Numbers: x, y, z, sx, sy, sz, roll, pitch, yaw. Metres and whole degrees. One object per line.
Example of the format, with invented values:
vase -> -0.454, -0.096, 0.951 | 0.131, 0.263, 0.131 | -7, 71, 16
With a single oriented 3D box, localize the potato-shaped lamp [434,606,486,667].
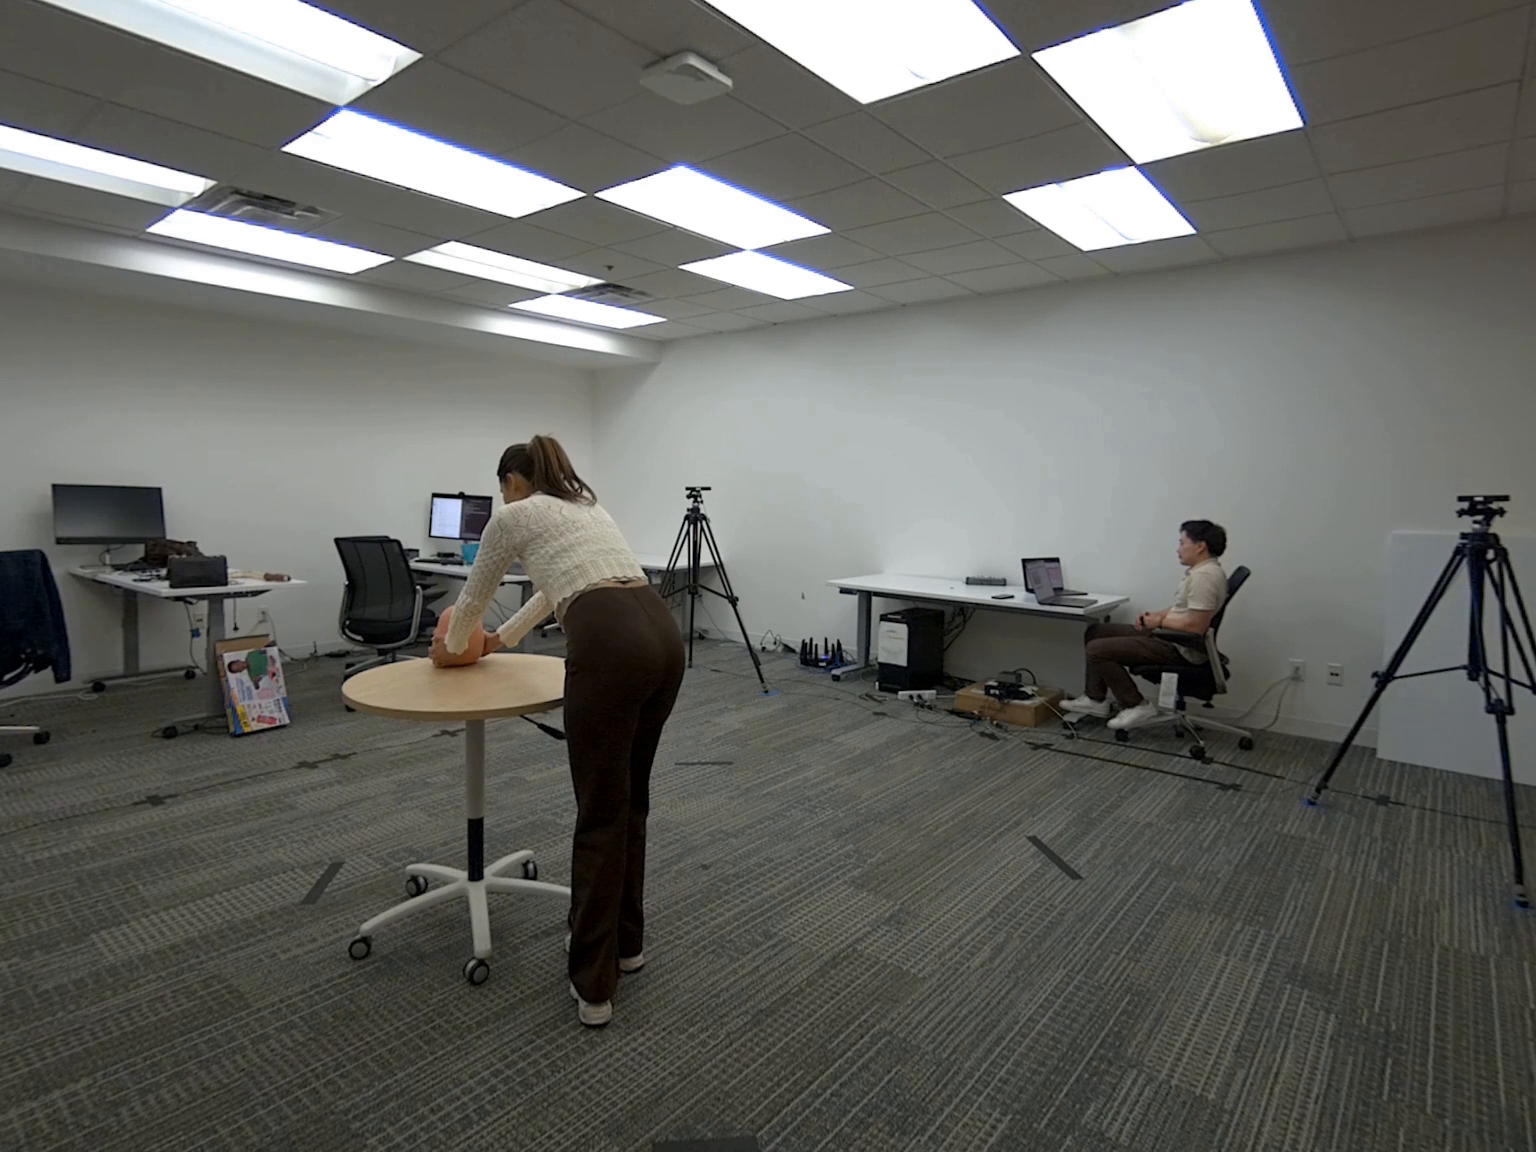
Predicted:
potato-shaped lamp -> -1.055, 0.197, 2.860 | 0.177, 0.197, 0.160 | 2, 5, 39
